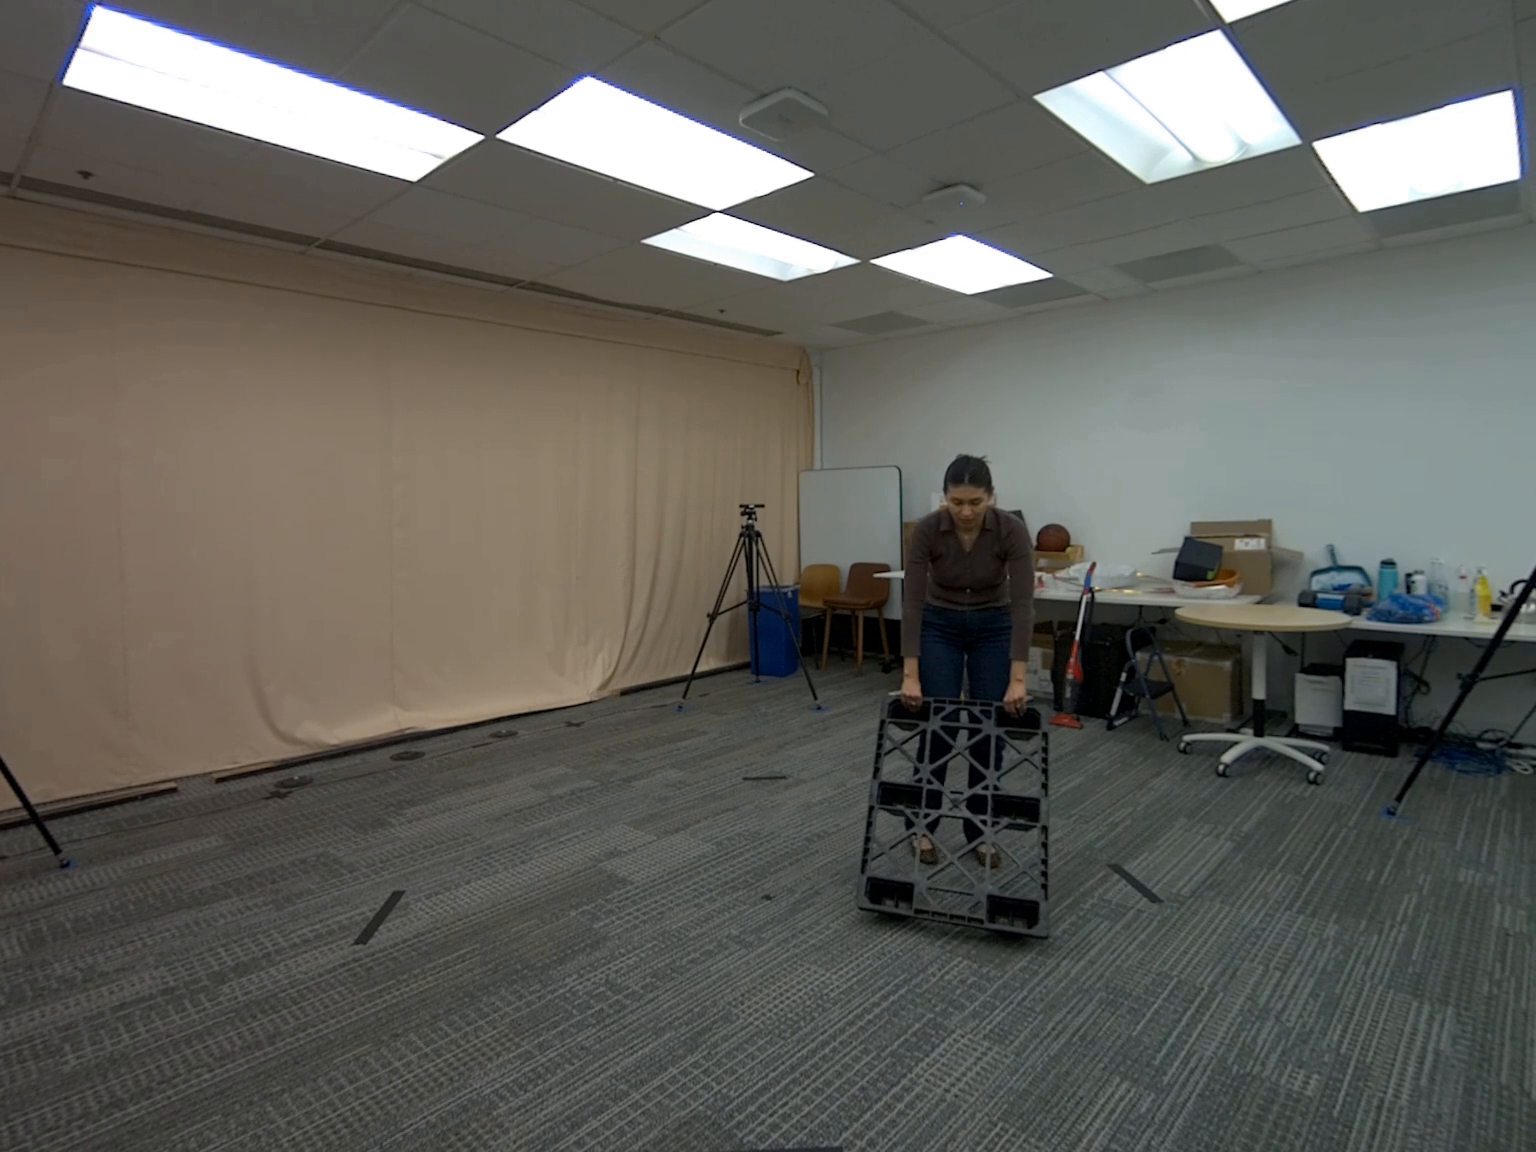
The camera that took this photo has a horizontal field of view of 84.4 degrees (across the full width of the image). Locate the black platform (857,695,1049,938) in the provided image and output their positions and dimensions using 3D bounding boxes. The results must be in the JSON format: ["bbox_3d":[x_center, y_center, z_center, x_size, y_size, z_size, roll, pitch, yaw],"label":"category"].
[{"bbox_3d":[0.671,0.809,2.941,0.618,0.813,0.139,0,-37,20],"label":"black platform"}]
